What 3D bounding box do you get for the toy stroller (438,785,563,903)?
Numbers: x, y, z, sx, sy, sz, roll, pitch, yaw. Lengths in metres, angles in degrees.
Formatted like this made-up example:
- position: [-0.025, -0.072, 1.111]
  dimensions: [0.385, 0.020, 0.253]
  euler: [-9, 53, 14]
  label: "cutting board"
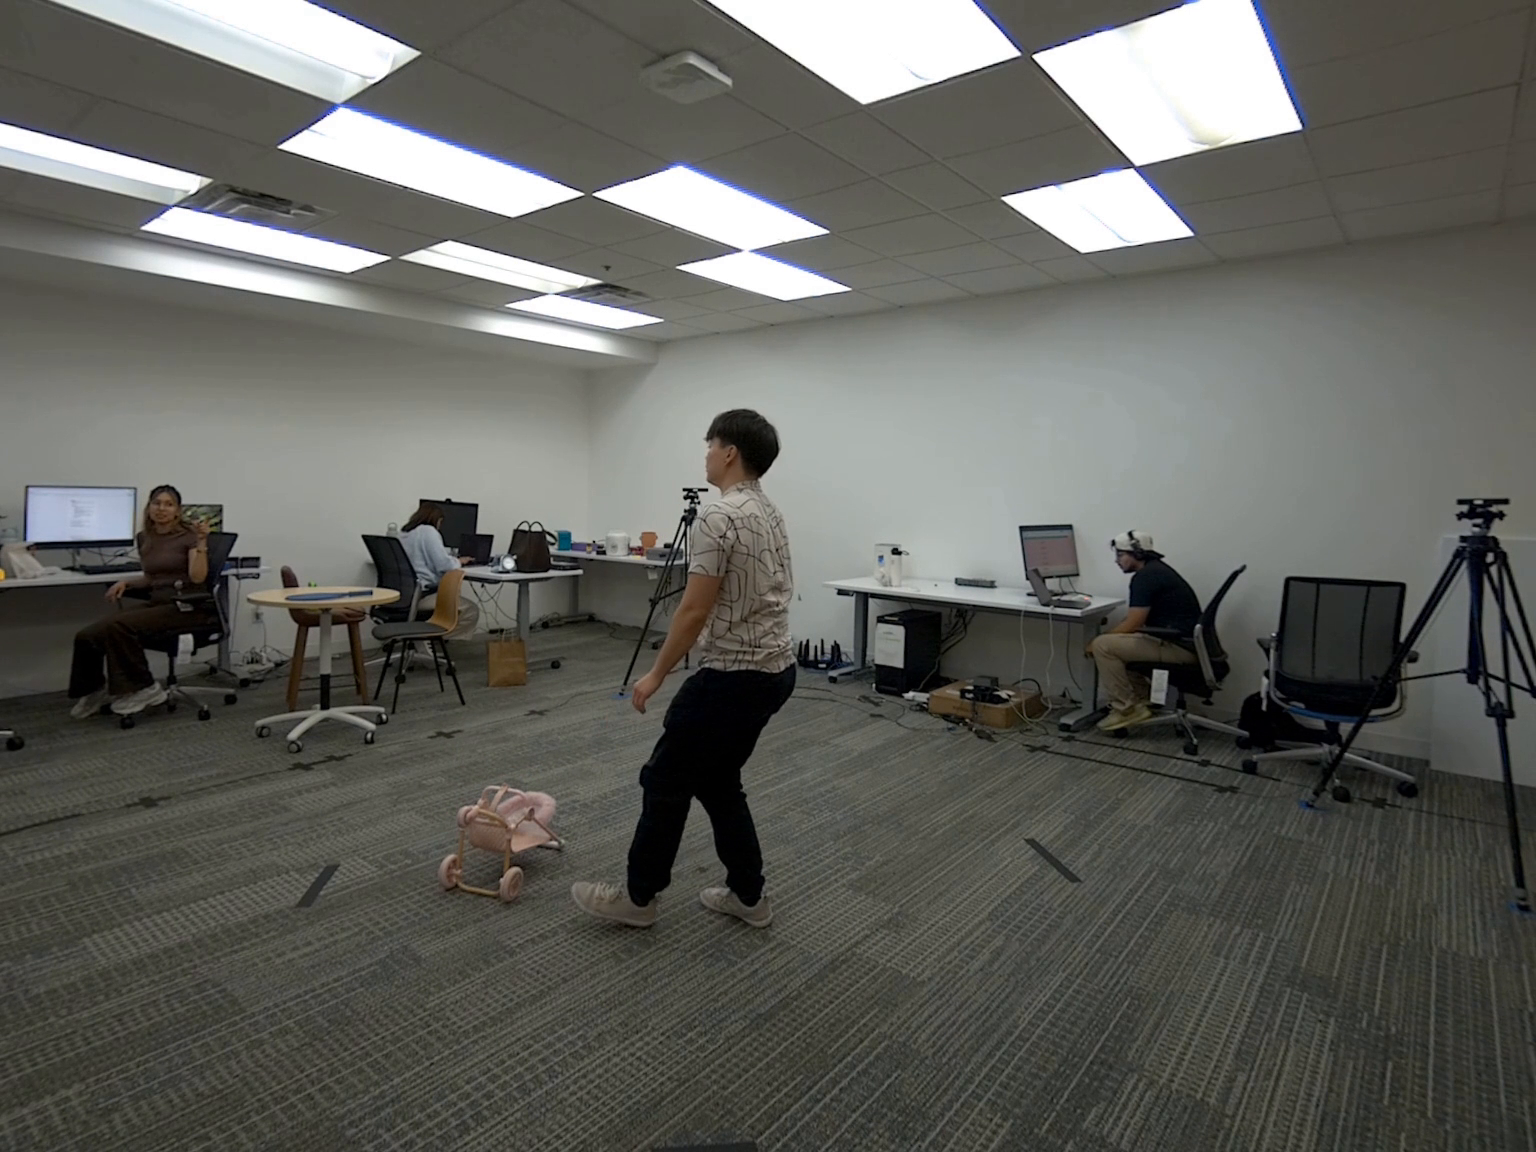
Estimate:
- position: [-0.951, 0.905, 3.027]
  dimensions: [0.287, 0.340, 0.526]
  euler: [-2, 5, 19]
  label: "toy stroller"
